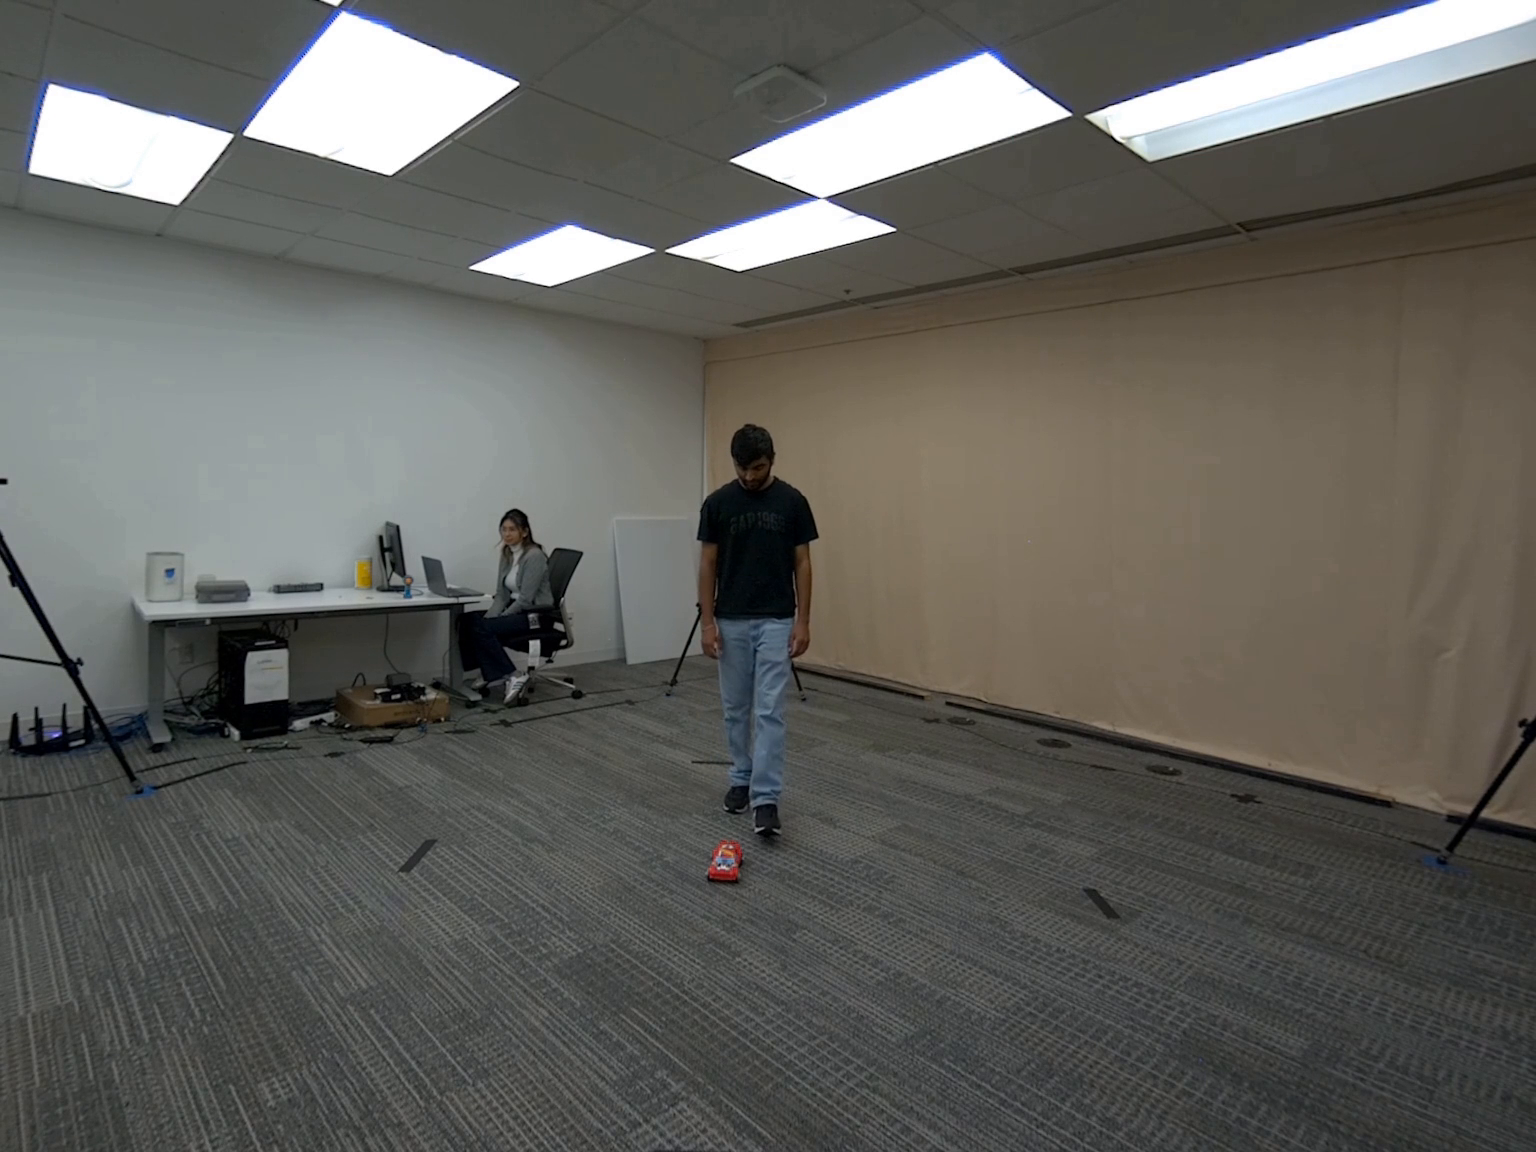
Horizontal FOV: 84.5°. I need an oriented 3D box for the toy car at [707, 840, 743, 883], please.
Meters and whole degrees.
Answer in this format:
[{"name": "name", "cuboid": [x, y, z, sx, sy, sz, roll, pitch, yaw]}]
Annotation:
[{"name": "toy car", "cuboid": [-0.170, 1.072, 3.149, 0.131, 0.082, 0.256, 1, 16, 4]}]
